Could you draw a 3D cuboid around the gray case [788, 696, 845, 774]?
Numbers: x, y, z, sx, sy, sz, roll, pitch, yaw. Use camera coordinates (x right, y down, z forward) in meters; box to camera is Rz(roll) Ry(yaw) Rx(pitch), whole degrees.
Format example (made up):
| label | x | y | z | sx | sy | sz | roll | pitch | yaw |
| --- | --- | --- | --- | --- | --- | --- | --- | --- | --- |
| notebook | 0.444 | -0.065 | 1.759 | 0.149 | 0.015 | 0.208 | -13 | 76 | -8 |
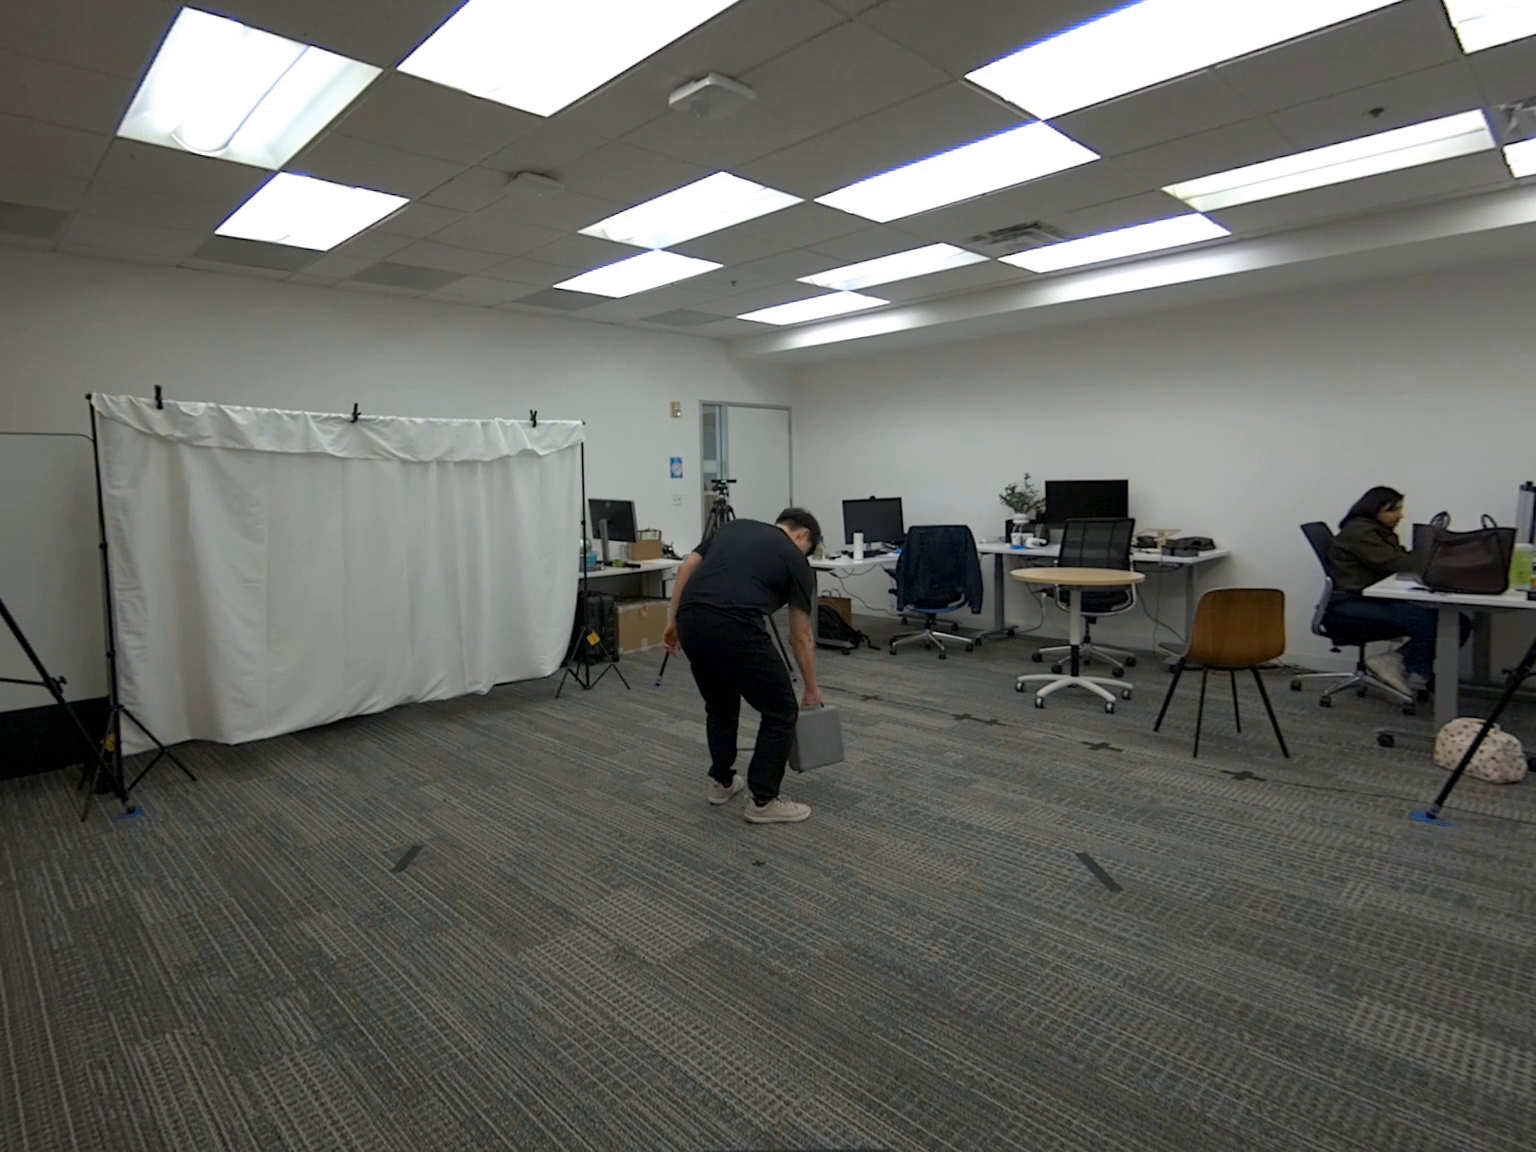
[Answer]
| label | x | y | z | sx | sy | sz | roll | pitch | yaw |
| --- | --- | --- | --- | --- | --- | --- | --- | --- | --- |
| gray case | 0.200 | 0.698 | 3.746 | 0.252 | 0.261 | 0.106 | -7 | 0 | -27 |
